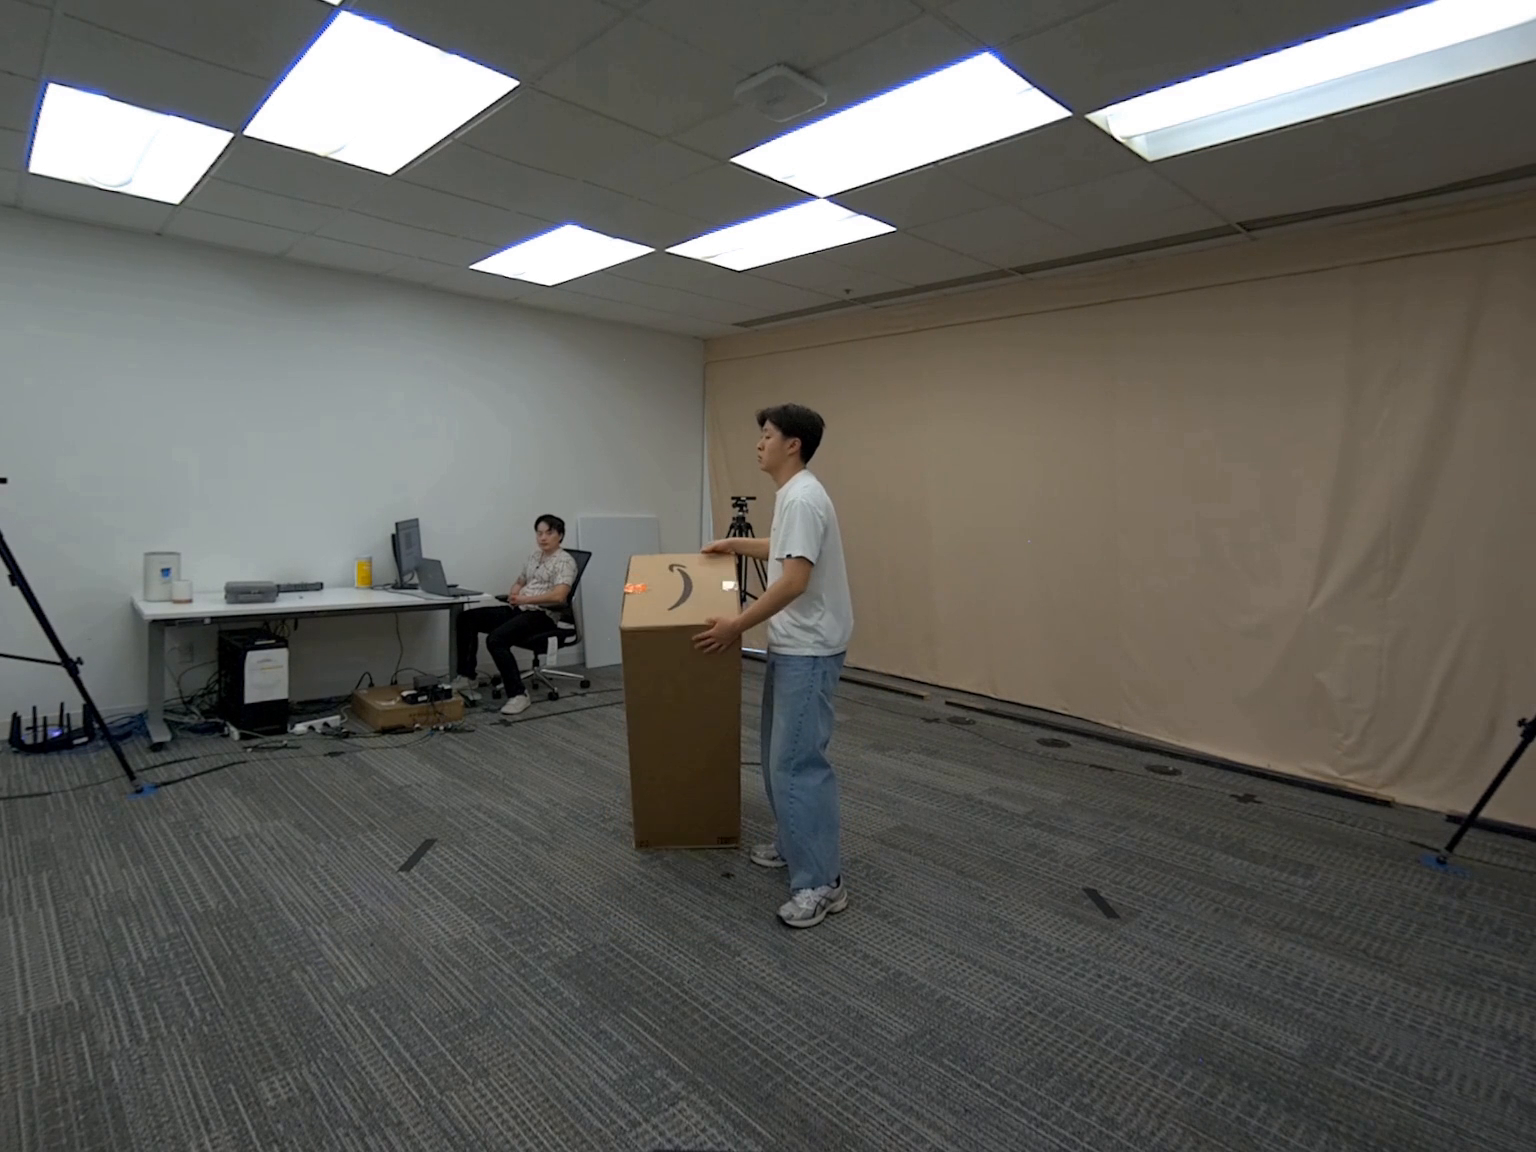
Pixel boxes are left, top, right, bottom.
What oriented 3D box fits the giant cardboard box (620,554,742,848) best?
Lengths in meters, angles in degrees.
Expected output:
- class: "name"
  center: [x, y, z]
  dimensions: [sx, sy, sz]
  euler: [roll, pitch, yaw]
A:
- class: "giant cardboard box"
  center: [-0.337, 0.502, 3.349]
  dimensions: [0.425, 1.008, 0.588]
  euler: [-1, 26, -3]
